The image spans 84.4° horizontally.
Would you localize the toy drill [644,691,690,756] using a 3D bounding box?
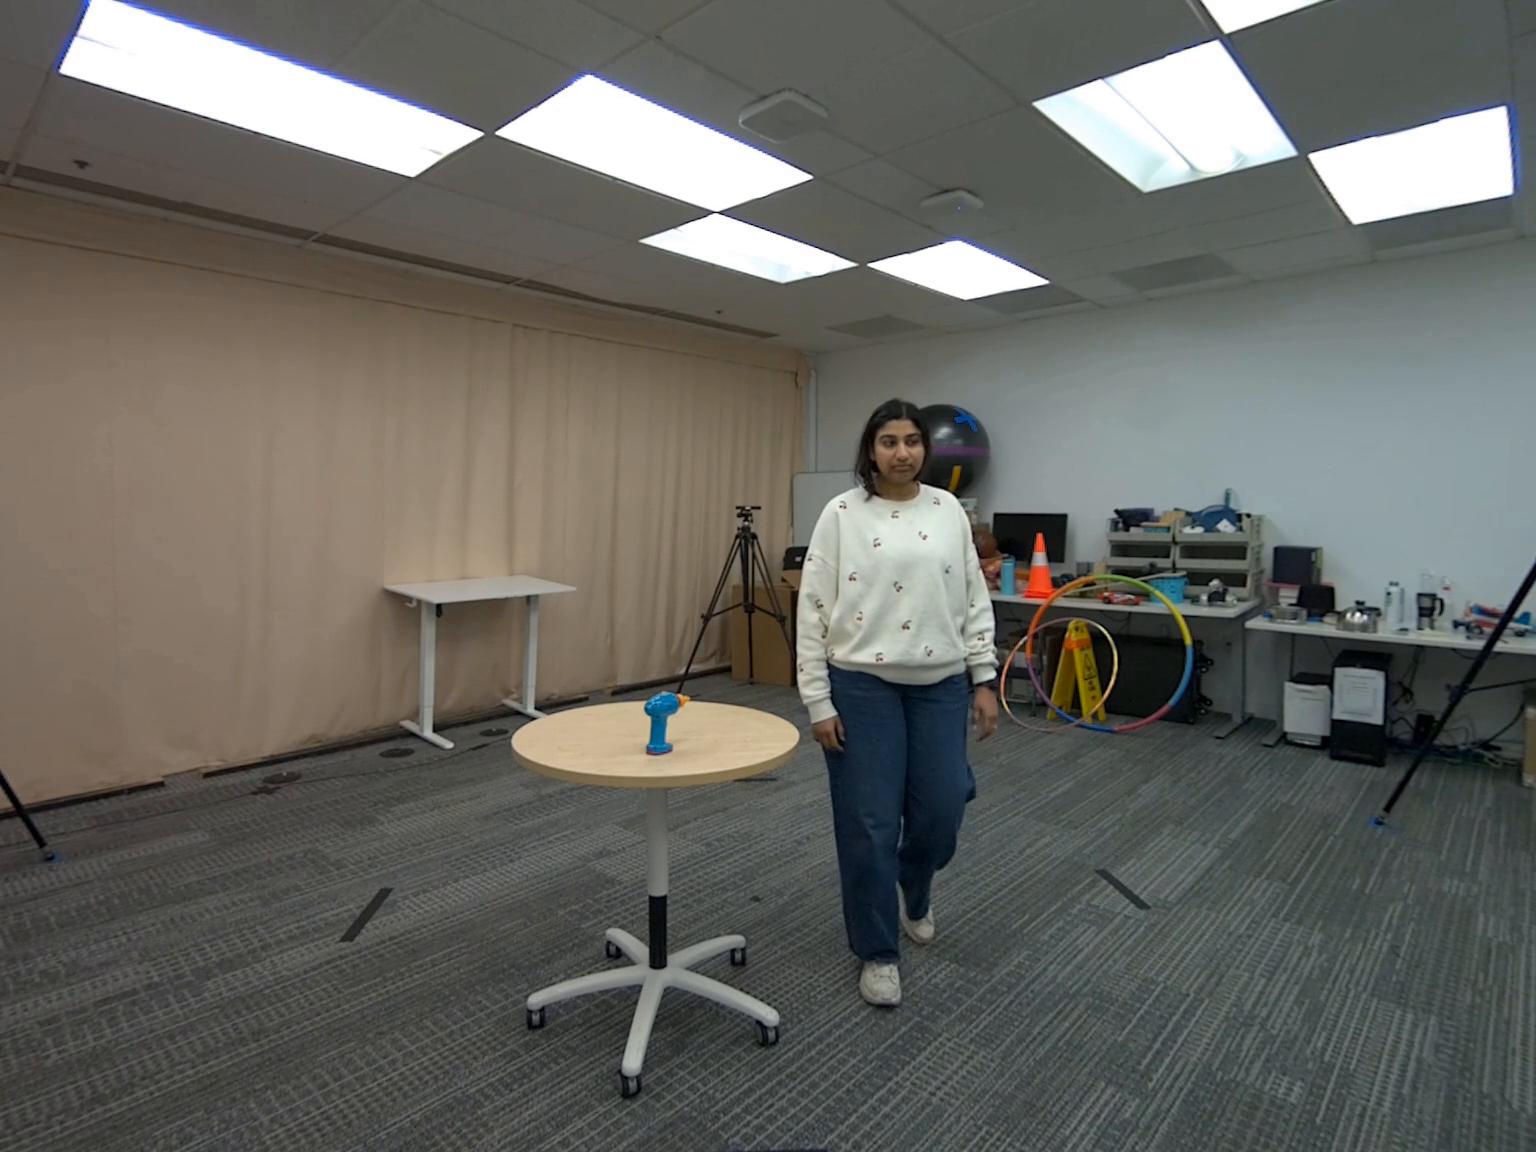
[{"bbox_3d":[-0.248,0.361,2.108,0.063,0.146,0.166,-3,4,25],"label":"toy drill"}]
